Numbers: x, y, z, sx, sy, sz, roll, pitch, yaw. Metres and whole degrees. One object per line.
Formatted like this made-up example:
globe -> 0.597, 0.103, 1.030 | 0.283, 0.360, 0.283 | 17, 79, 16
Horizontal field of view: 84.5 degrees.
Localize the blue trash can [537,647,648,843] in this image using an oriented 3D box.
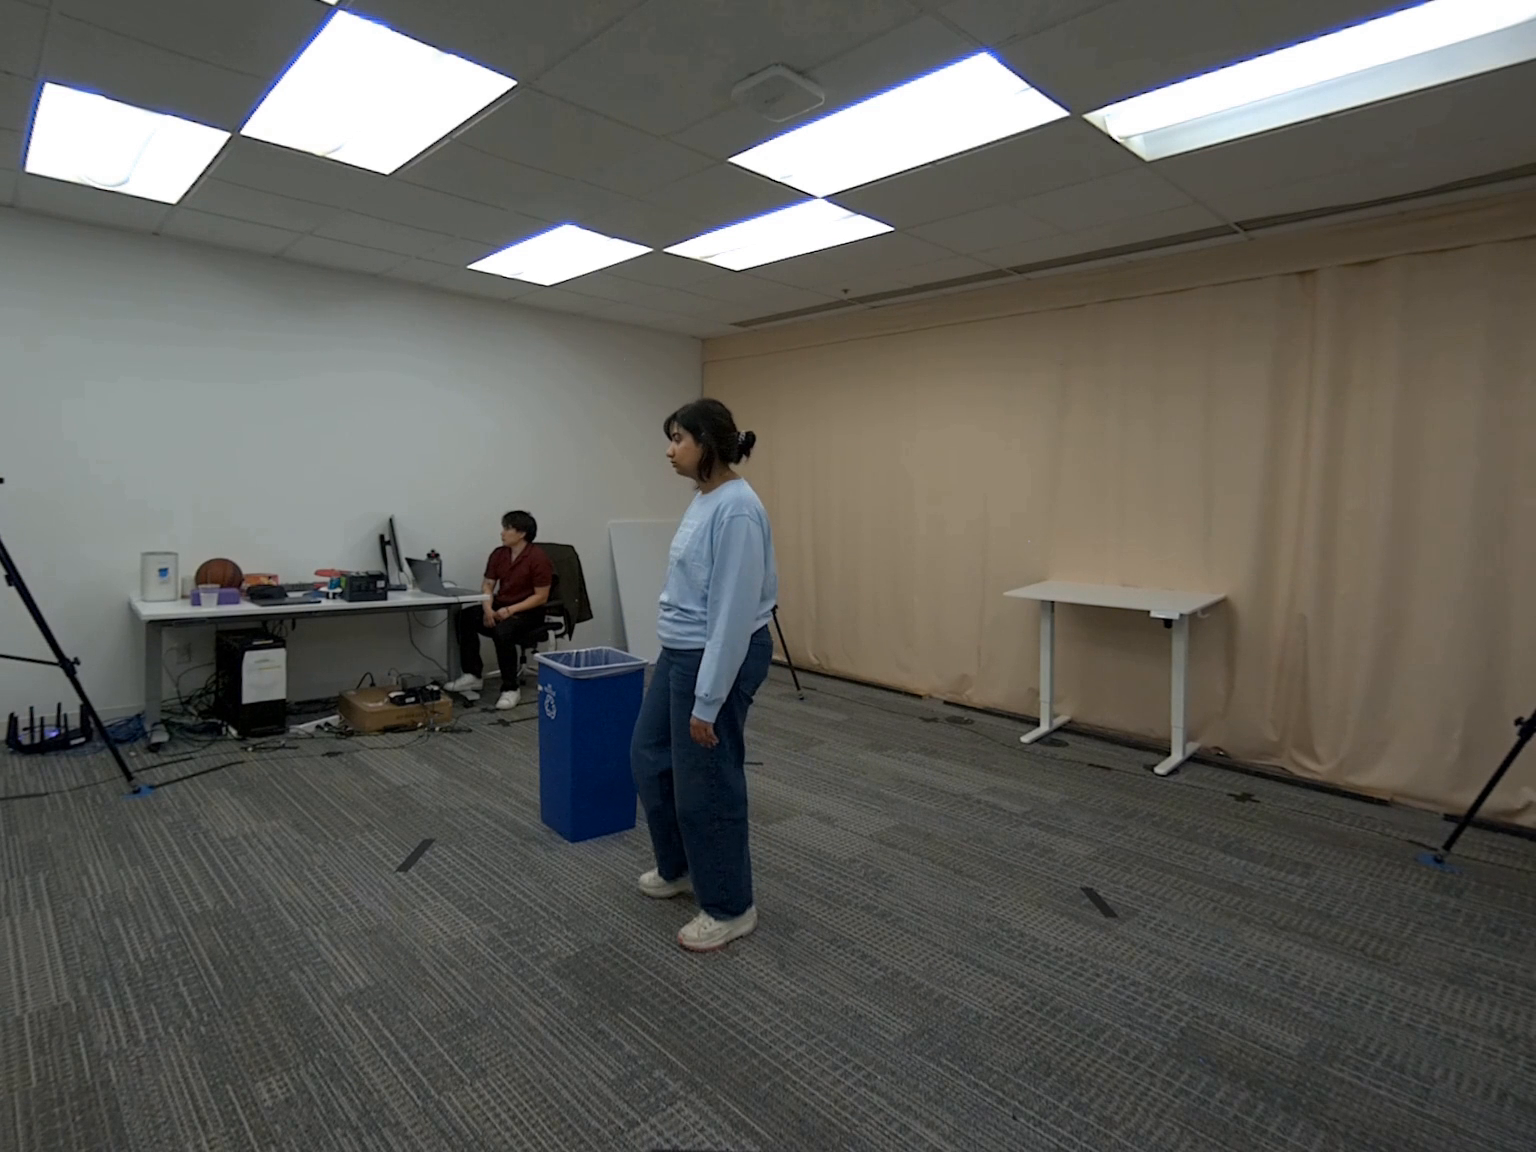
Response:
blue trash can -> -0.761, 0.696, 3.535 | 0.365, 0.711, 0.388 | -1, 5, -40
